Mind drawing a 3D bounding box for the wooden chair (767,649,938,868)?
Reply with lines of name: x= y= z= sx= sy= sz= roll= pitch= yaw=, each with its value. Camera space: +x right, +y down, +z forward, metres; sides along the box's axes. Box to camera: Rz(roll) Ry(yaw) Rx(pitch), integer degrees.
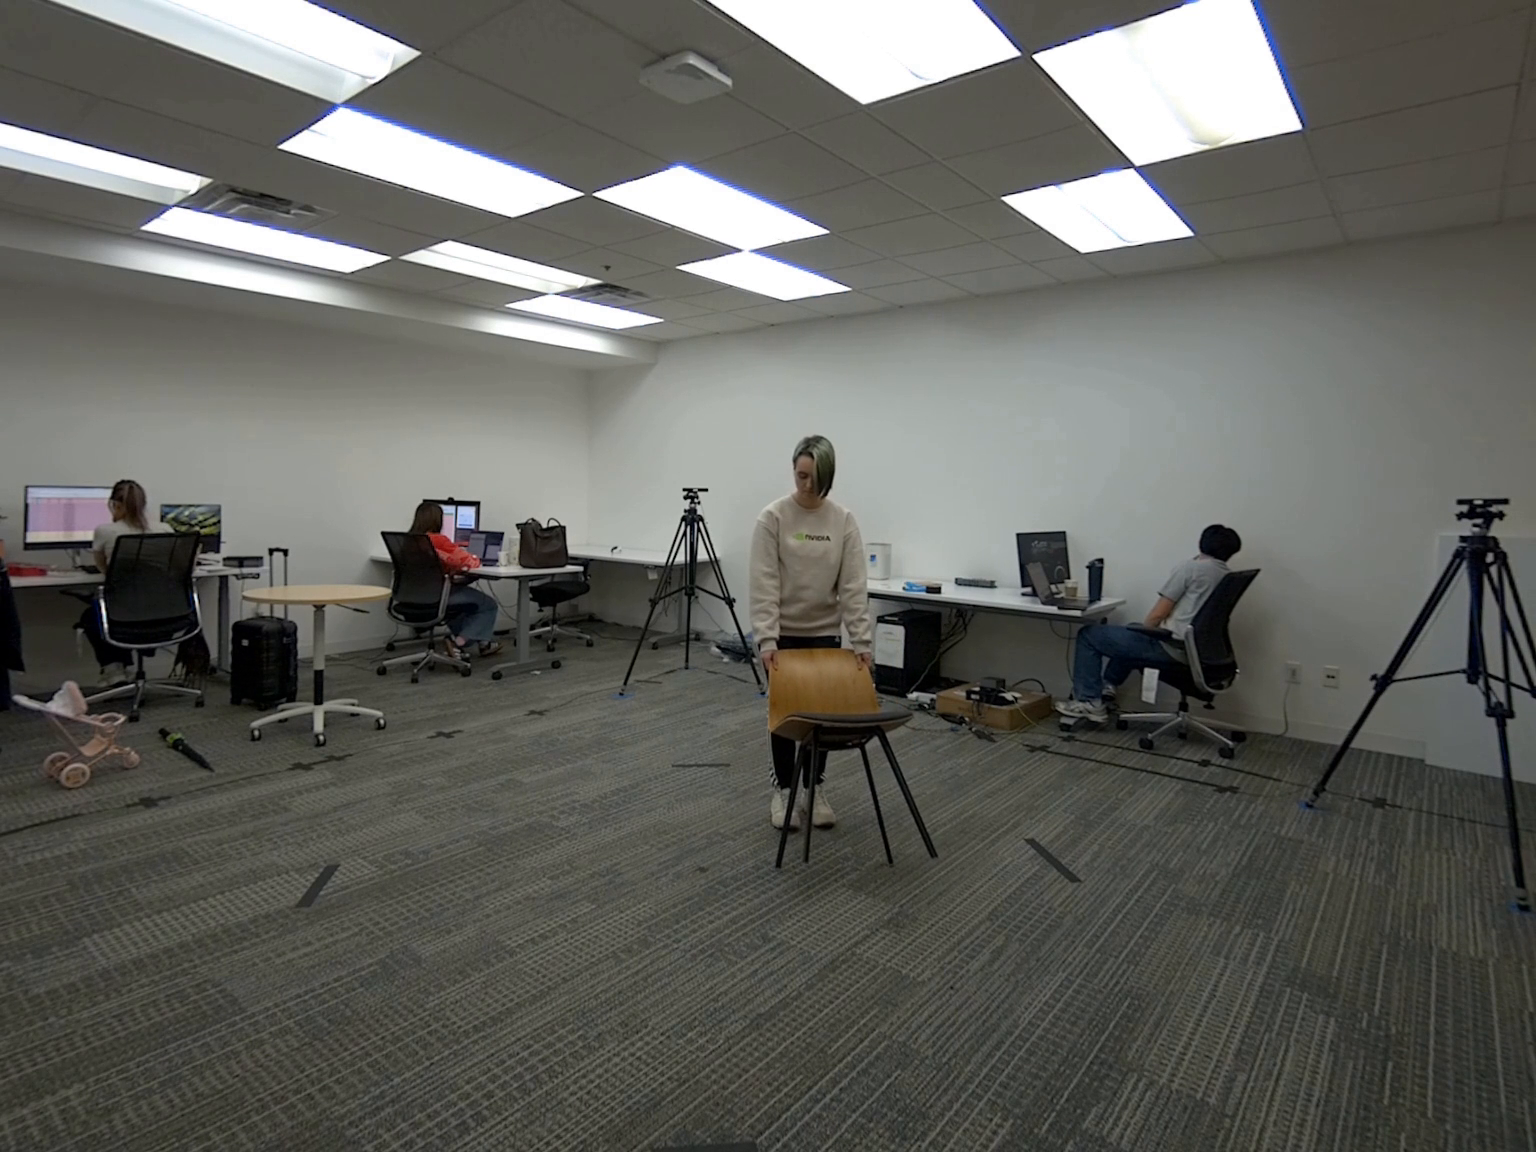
wooden chair: x=0.248 y=0.591 z=3.101 sx=0.473 sy=0.900 sz=0.516 roll=0 pitch=-27 yaw=-11
